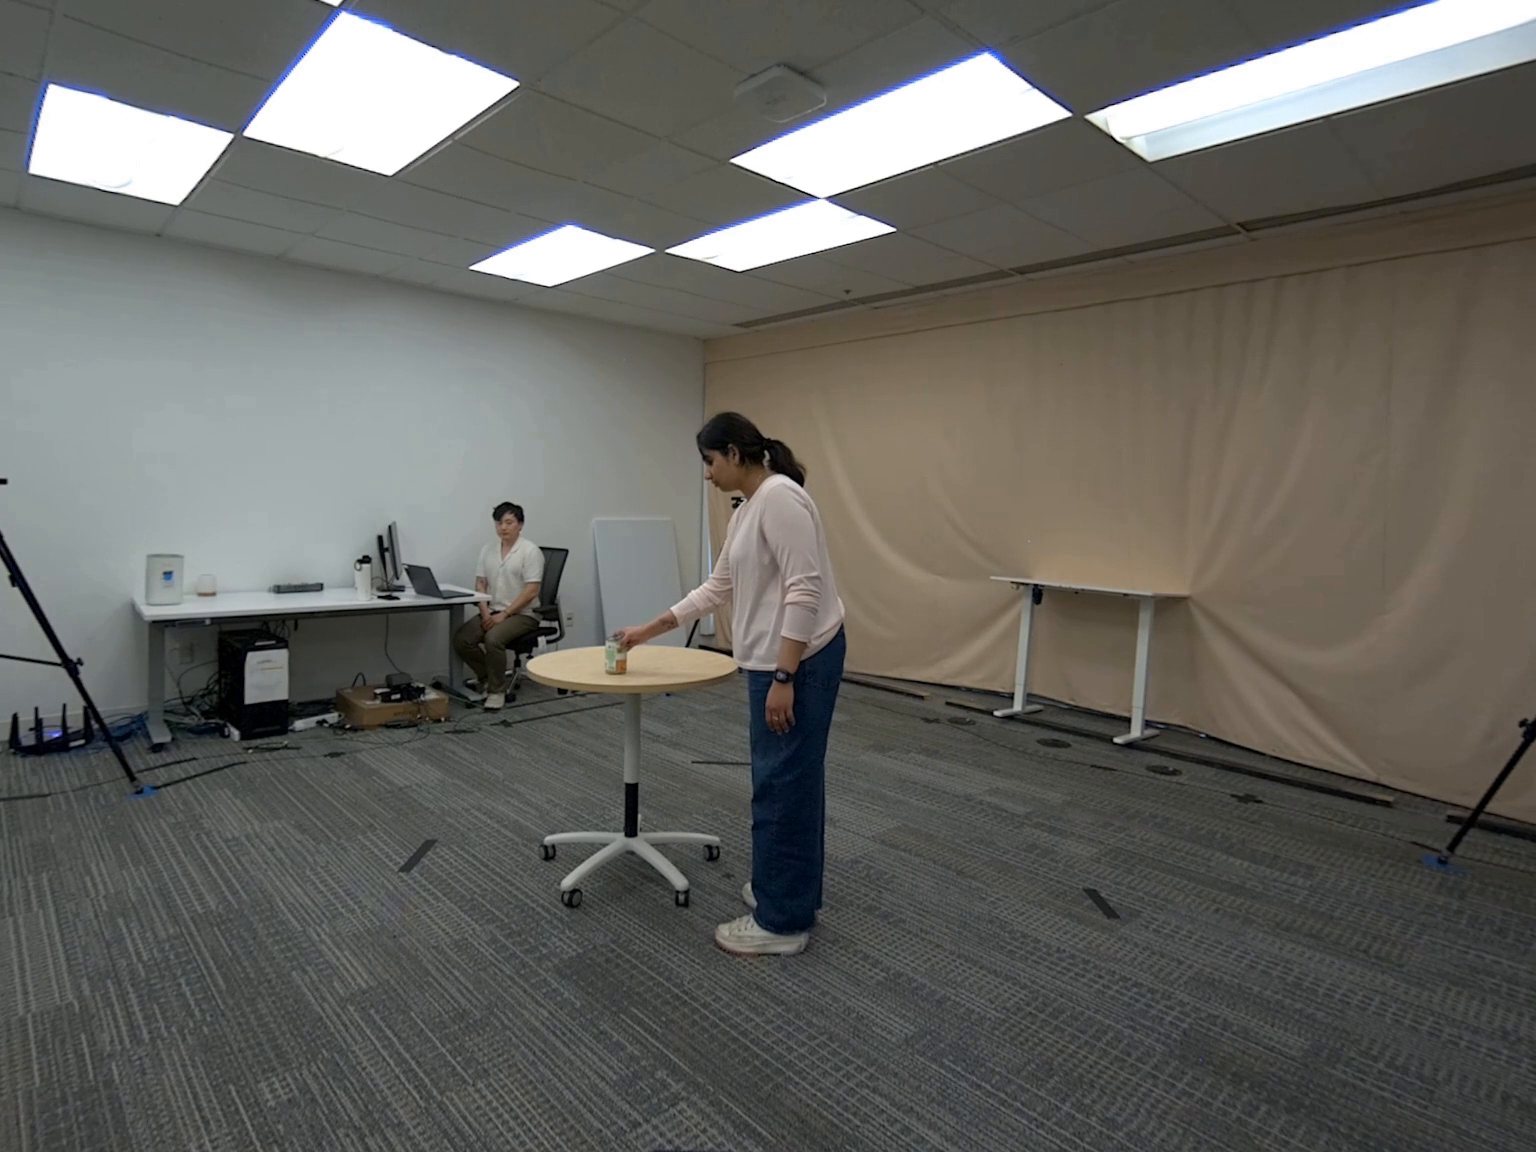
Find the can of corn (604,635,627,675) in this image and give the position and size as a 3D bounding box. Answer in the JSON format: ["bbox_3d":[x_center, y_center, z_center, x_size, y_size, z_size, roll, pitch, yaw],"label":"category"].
[{"bbox_3d":[-0.522,0.268,2.889,0.074,0.110,0.074,2,6,-2],"label":"can of corn"}]
